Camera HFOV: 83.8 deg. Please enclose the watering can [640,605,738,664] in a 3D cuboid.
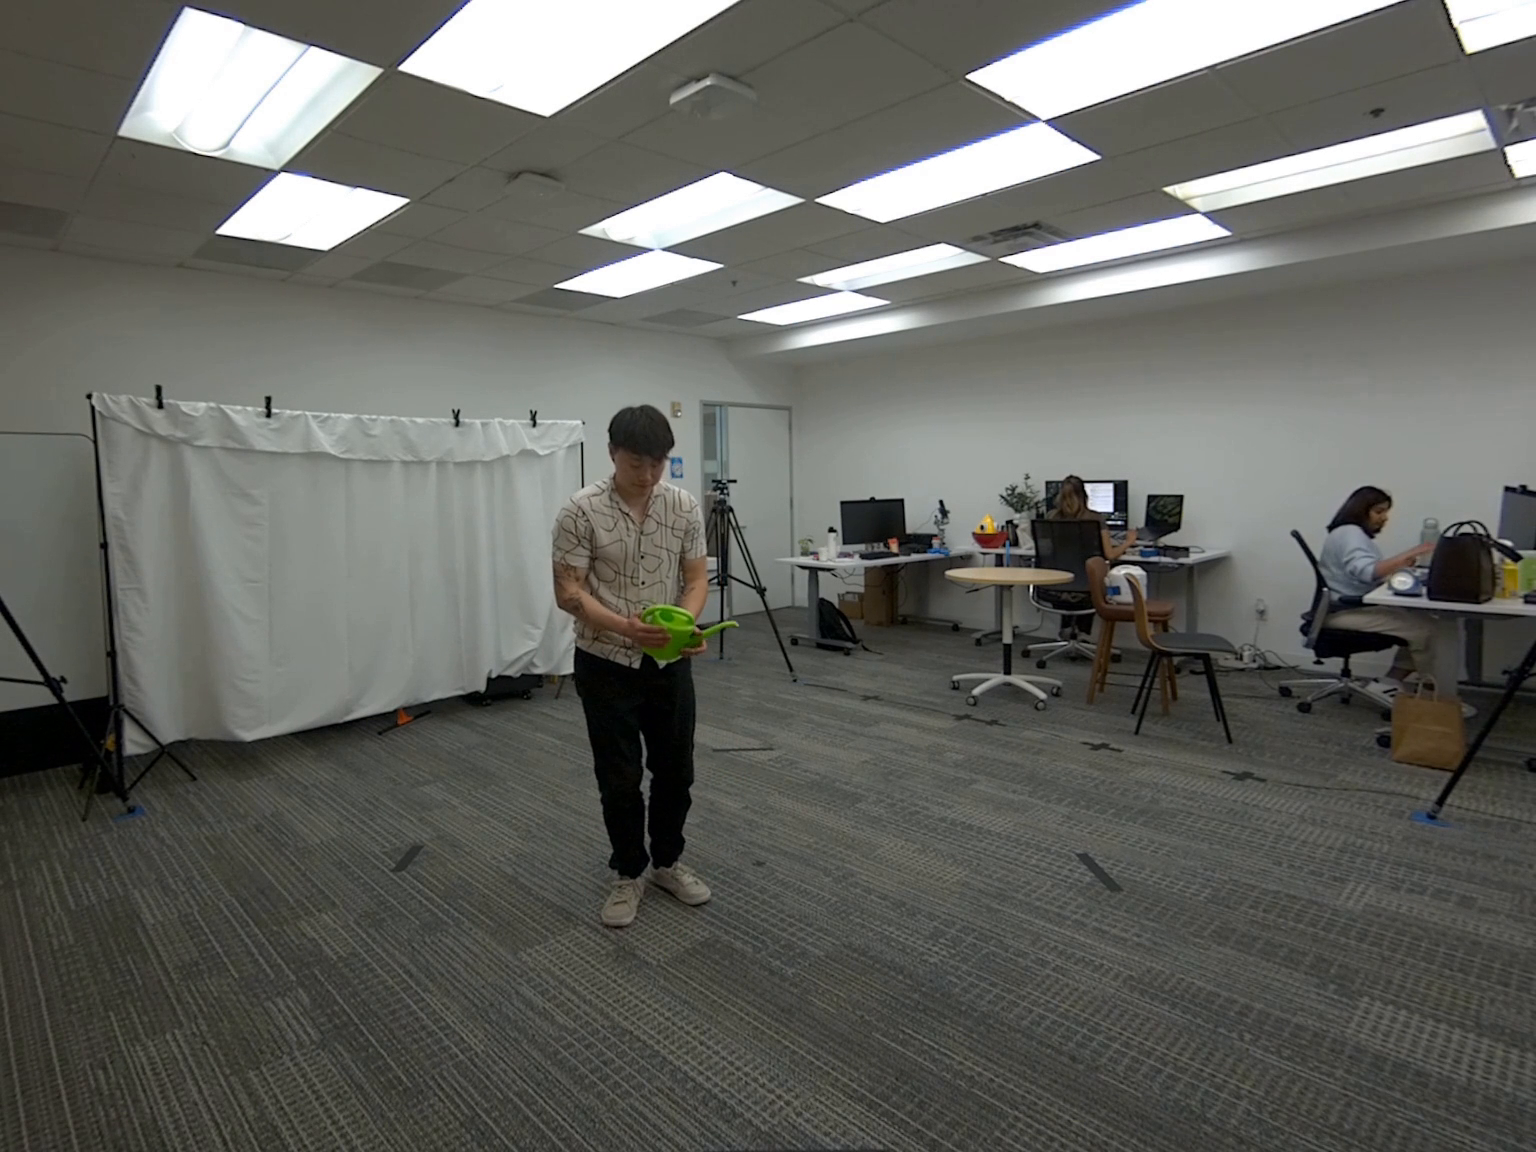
[{"bbox_3d":[-0.257,0.181,2.527,0.277,0.175,0.099,25,36,-4],"label":"watering can"}]
